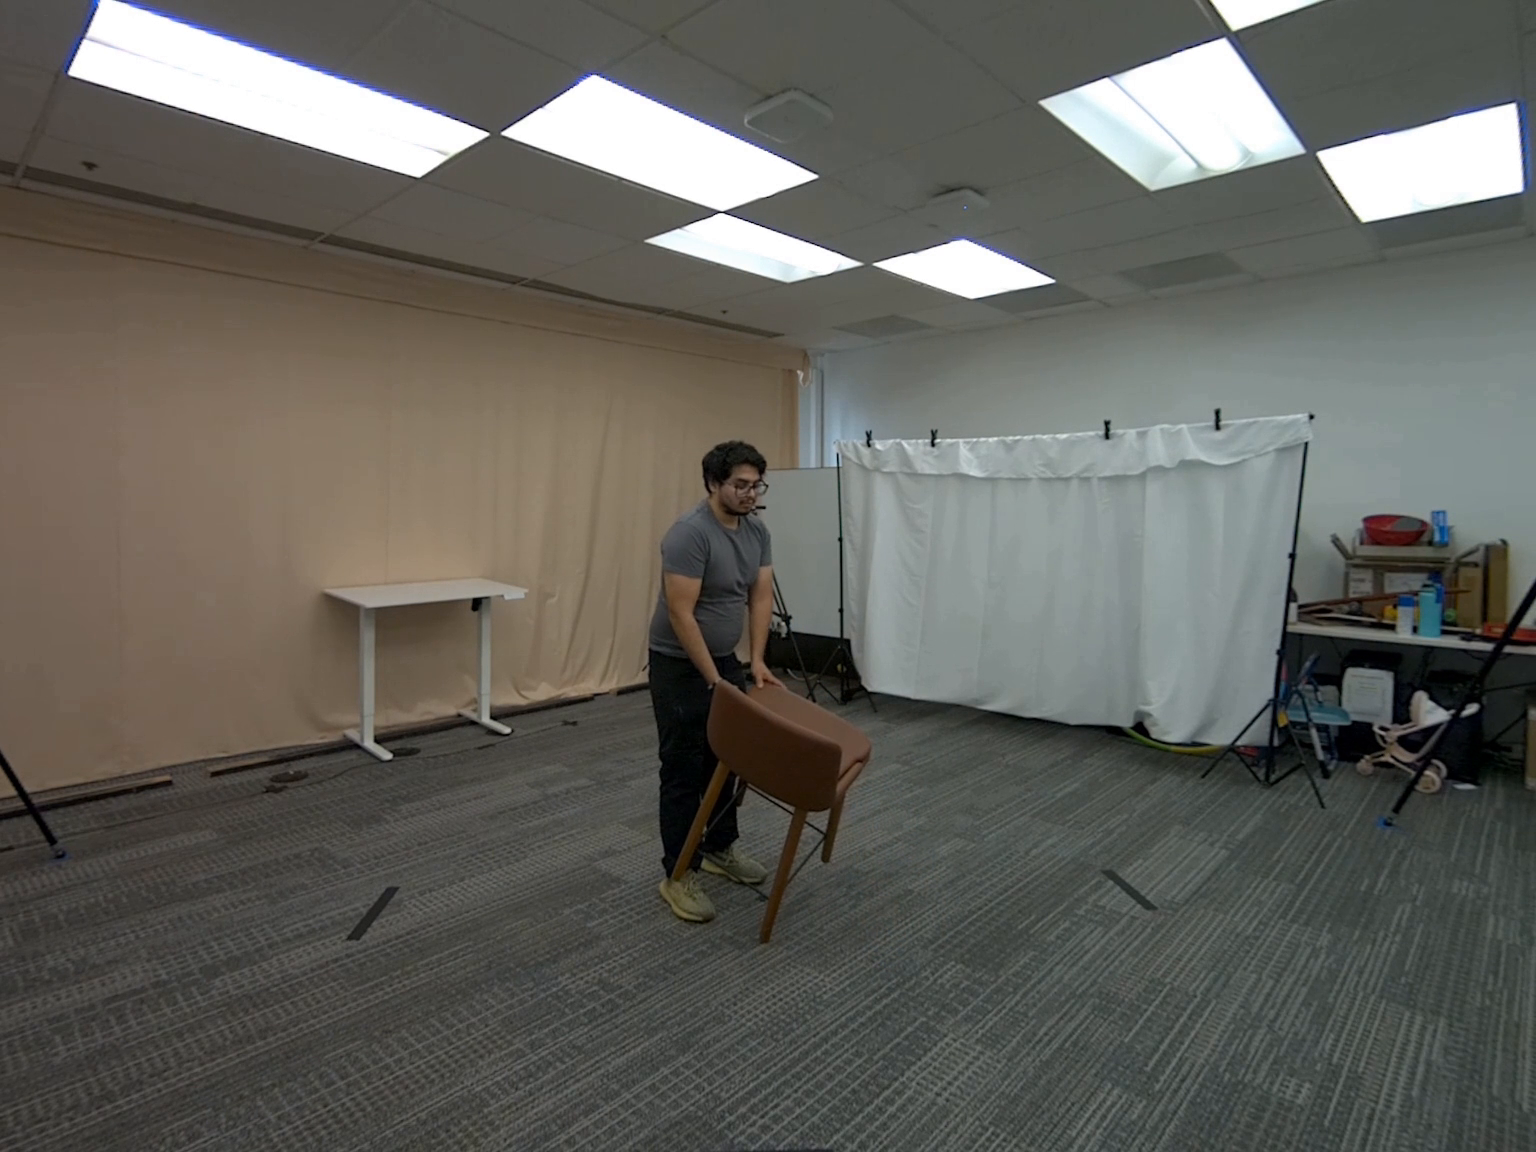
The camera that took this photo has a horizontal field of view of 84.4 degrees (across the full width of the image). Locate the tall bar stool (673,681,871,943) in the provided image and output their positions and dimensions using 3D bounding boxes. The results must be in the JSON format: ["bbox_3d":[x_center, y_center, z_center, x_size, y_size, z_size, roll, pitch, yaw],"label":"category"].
[{"bbox_3d":[0.040,0.657,2.702,0.469,0.881,0.460,28,34,22],"label":"tall bar stool"}]
